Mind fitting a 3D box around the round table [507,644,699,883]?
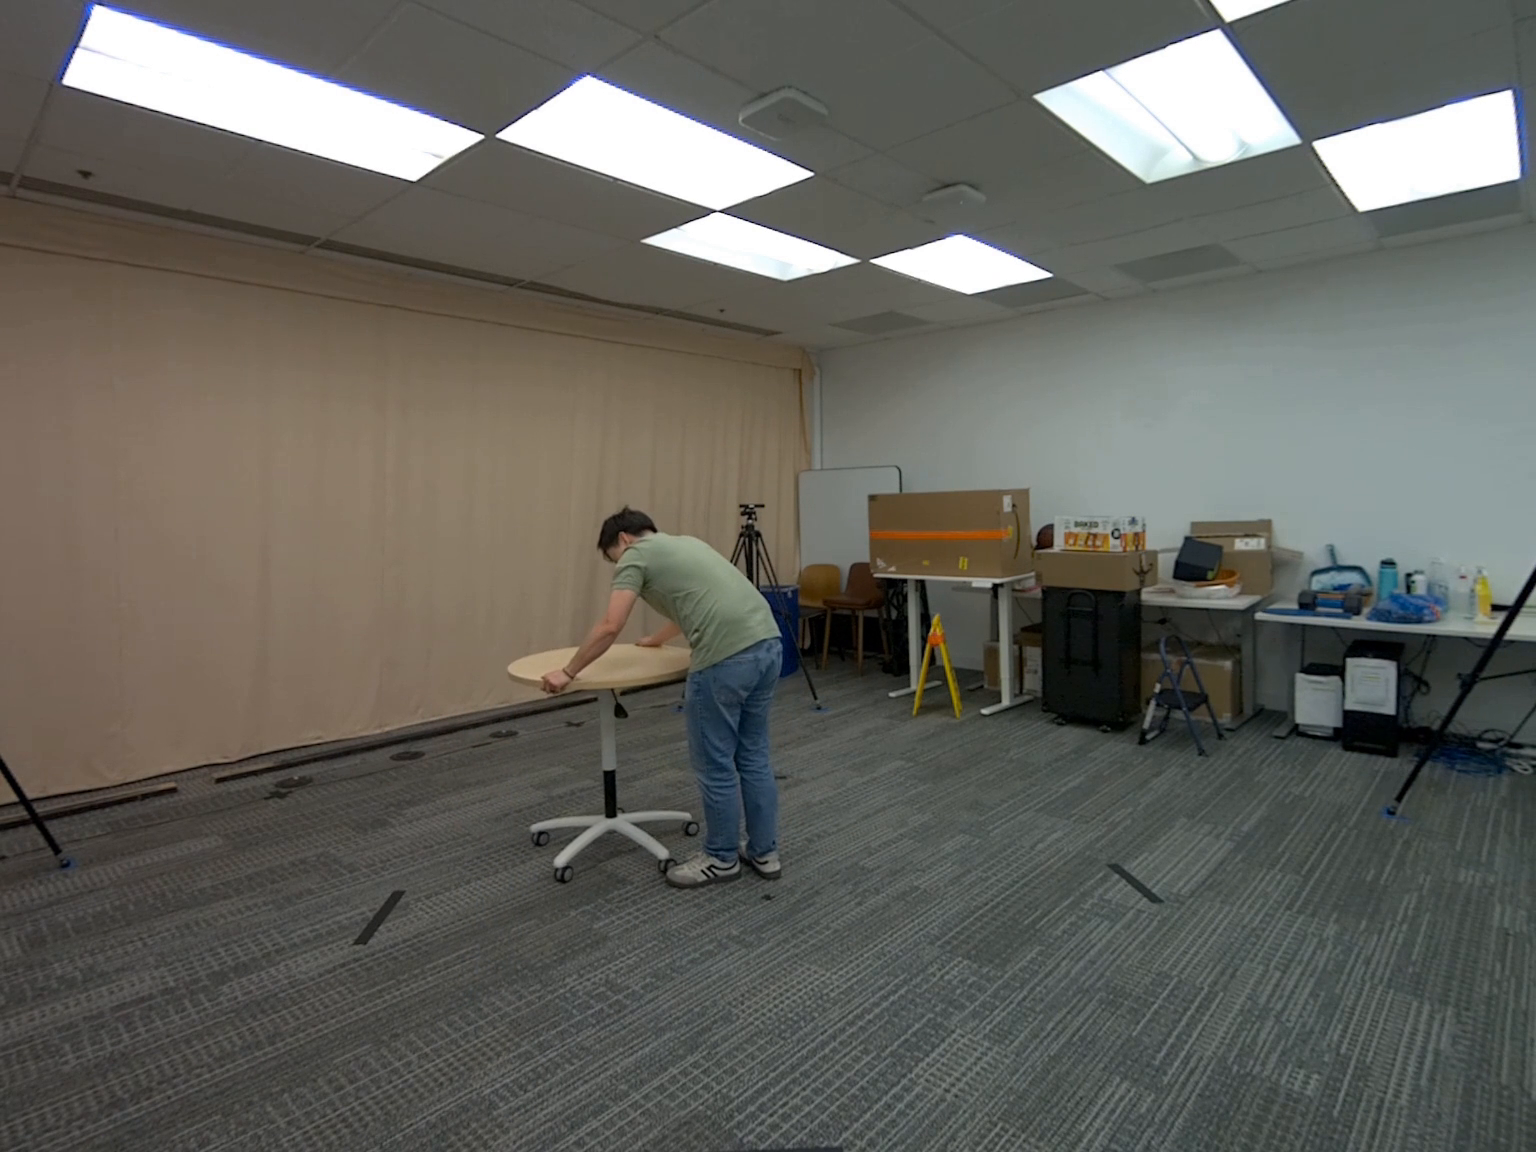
[{"bbox_3d":[-0.636,0.733,3.414,0.763,0.792,0.767,-1,4,-2],"label":"round table"}]
